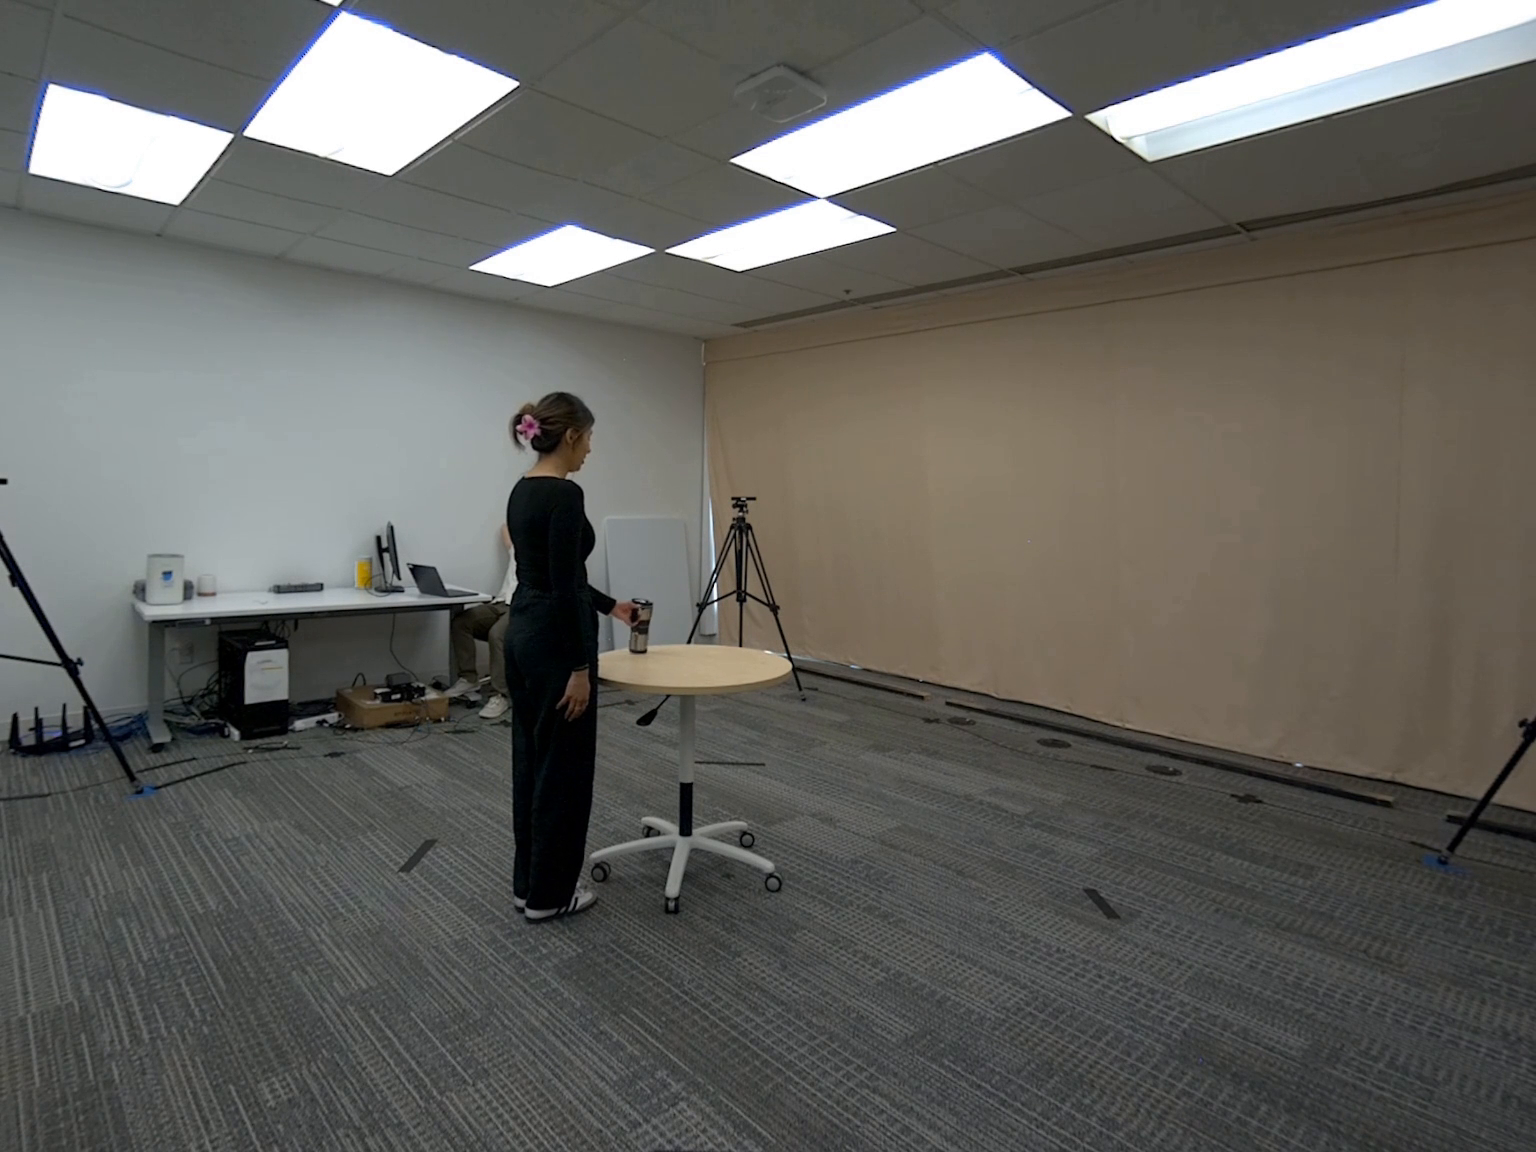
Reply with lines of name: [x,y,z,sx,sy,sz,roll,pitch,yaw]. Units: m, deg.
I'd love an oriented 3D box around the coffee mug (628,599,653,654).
coffee mug: [-0.513,0.182,3.262,0.119,0.202,0.090,2,9,-44]
